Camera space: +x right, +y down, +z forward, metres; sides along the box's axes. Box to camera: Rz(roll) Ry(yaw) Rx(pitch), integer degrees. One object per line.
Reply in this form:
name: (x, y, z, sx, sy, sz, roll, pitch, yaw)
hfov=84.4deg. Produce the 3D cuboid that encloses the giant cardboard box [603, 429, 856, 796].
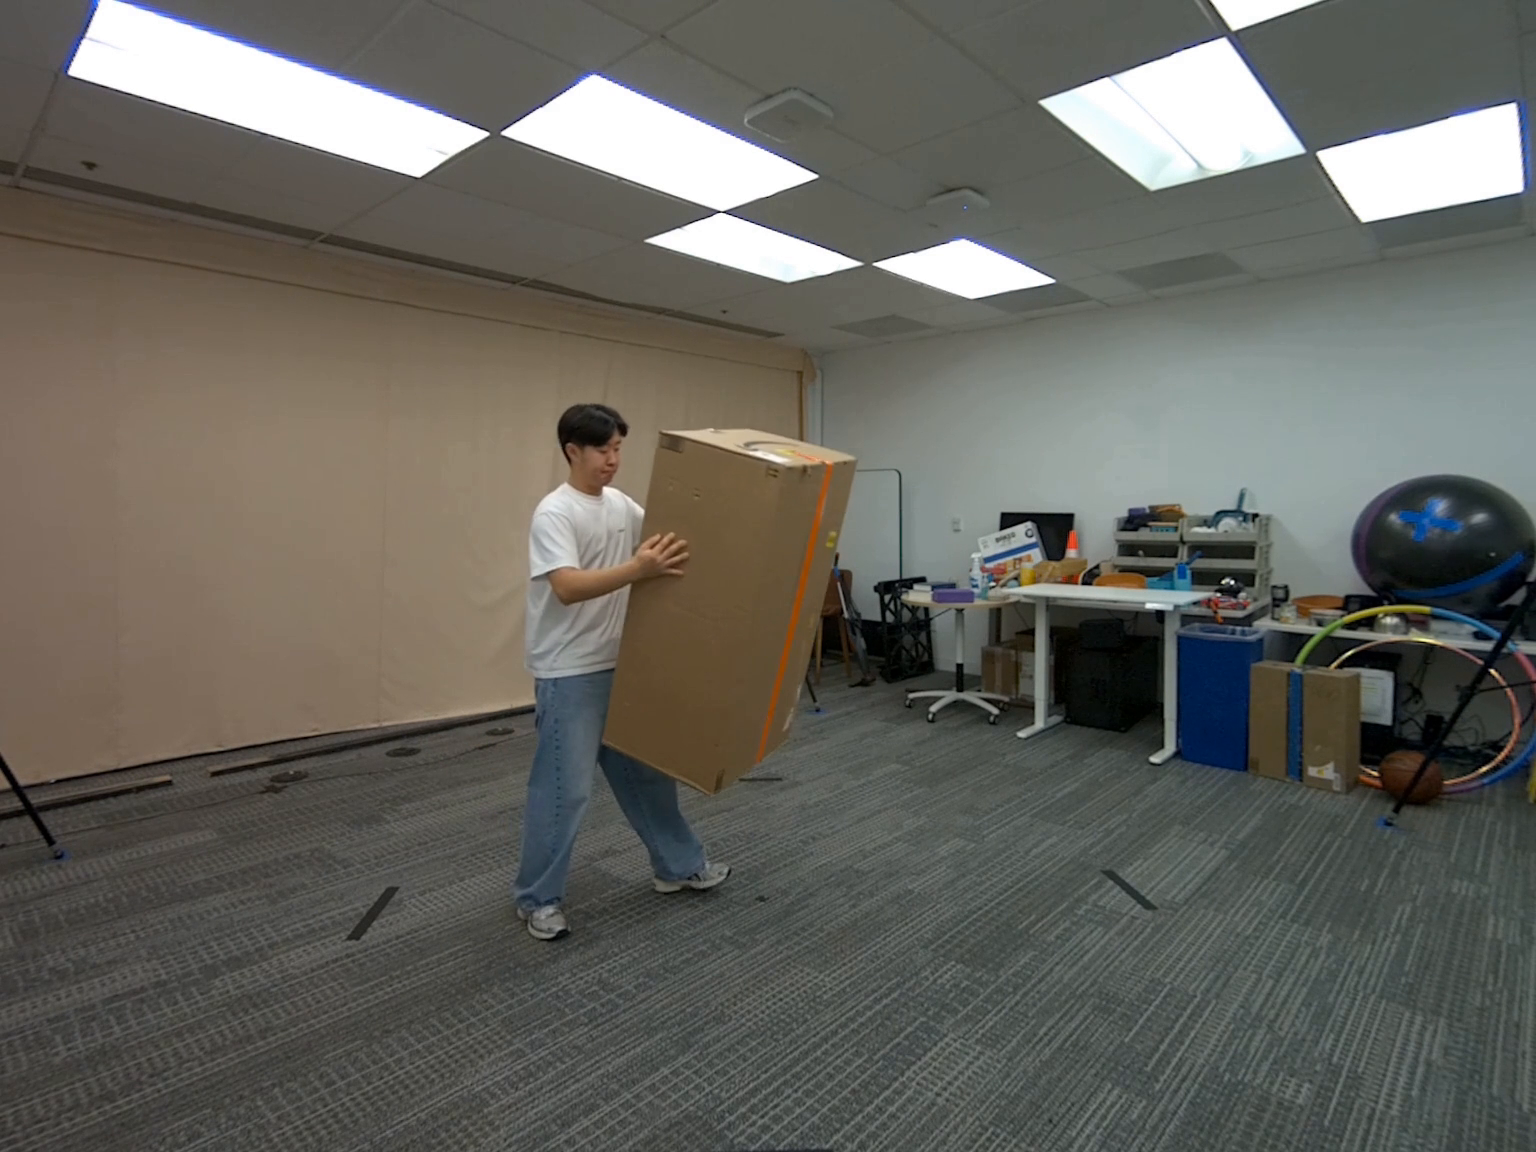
giant cardboard box: (-0.107, 0.079, 2.714, 0.438, 1.020, 0.564, 19, 15, 24)
